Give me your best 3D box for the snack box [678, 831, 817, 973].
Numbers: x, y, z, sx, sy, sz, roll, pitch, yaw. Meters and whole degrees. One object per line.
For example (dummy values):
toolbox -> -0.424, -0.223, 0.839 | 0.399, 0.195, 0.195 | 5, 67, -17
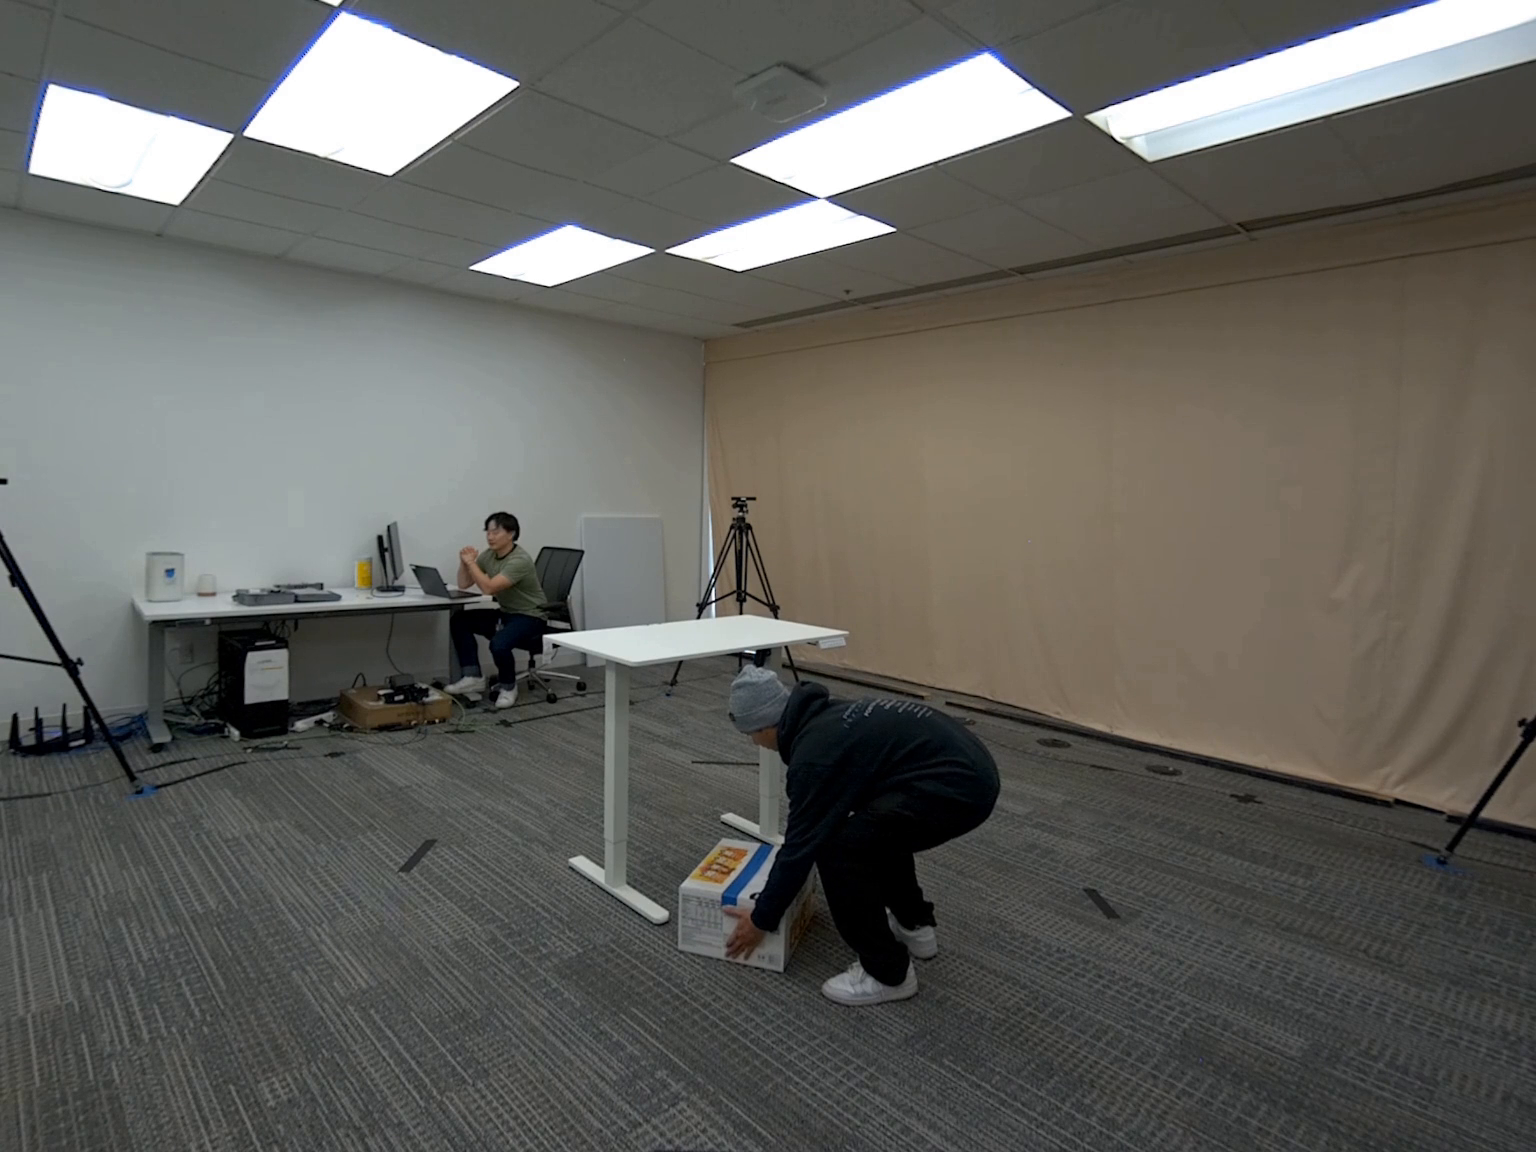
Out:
snack box -> -0.059, 1.045, 2.703 | 0.345, 0.205, 0.400 | 2, 5, 18
